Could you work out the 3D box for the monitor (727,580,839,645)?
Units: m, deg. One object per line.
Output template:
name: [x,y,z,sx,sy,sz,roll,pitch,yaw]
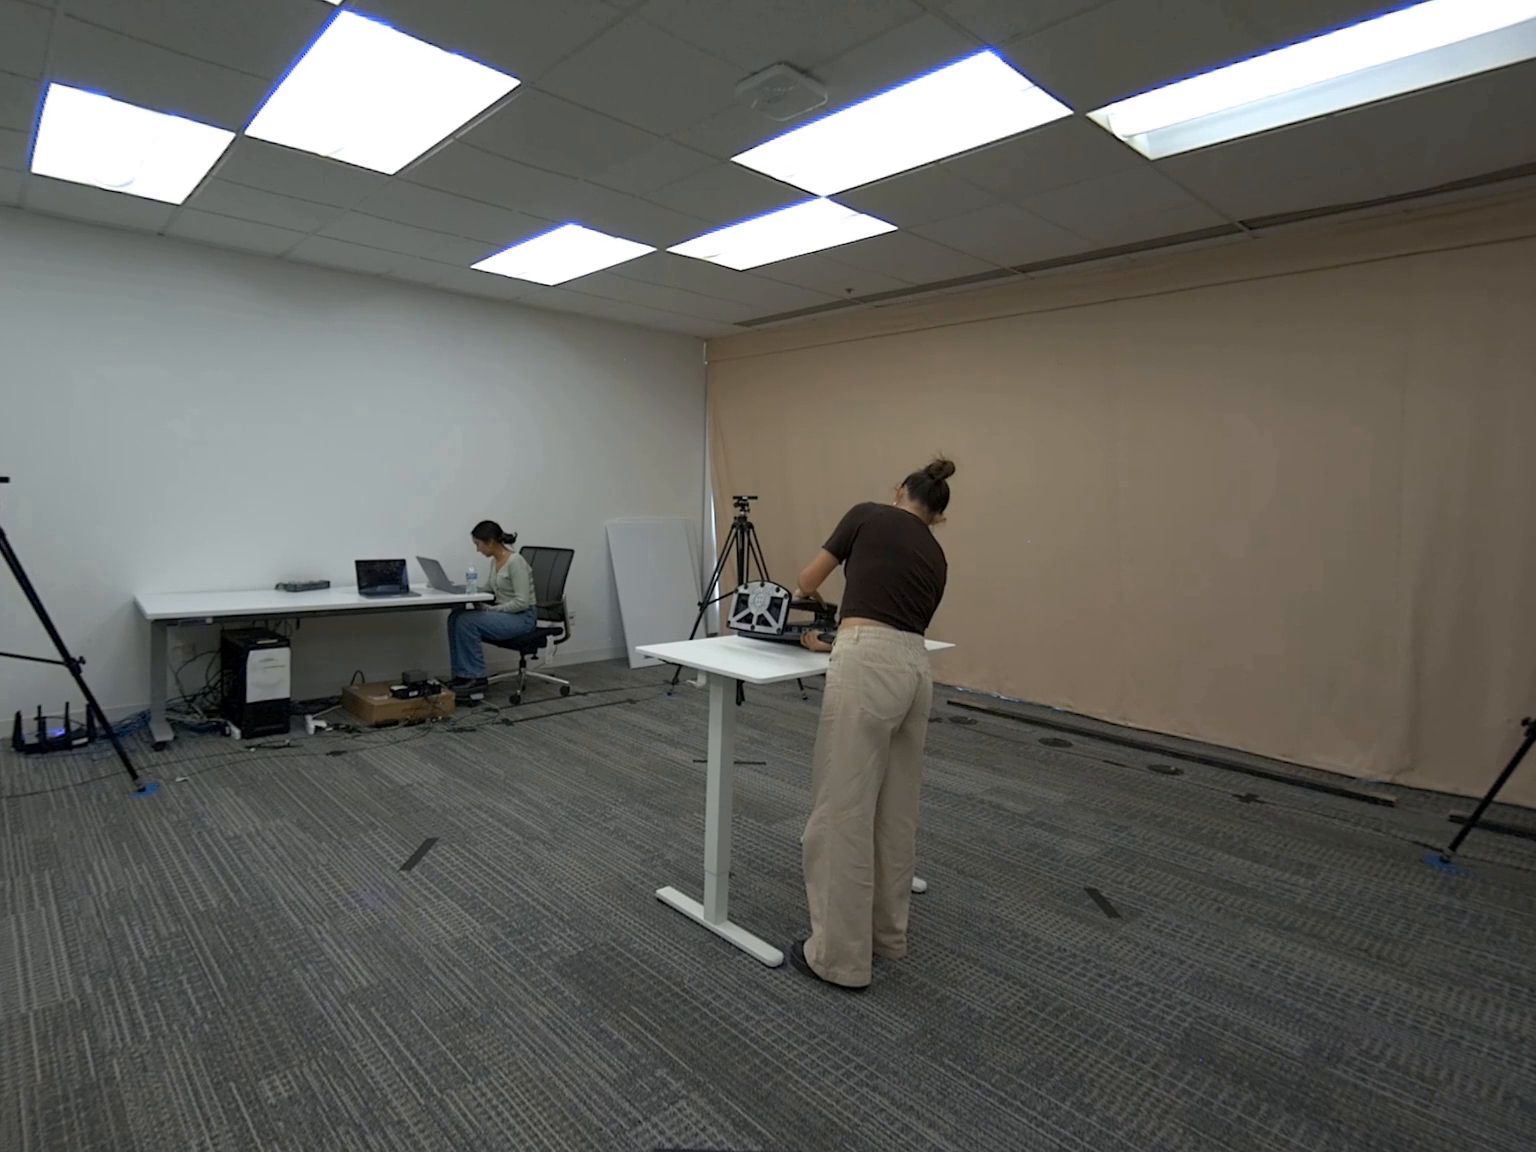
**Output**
monitor: [0.130,0.161,2.968,0.507,0.188,0.552,18,-10,-42]
